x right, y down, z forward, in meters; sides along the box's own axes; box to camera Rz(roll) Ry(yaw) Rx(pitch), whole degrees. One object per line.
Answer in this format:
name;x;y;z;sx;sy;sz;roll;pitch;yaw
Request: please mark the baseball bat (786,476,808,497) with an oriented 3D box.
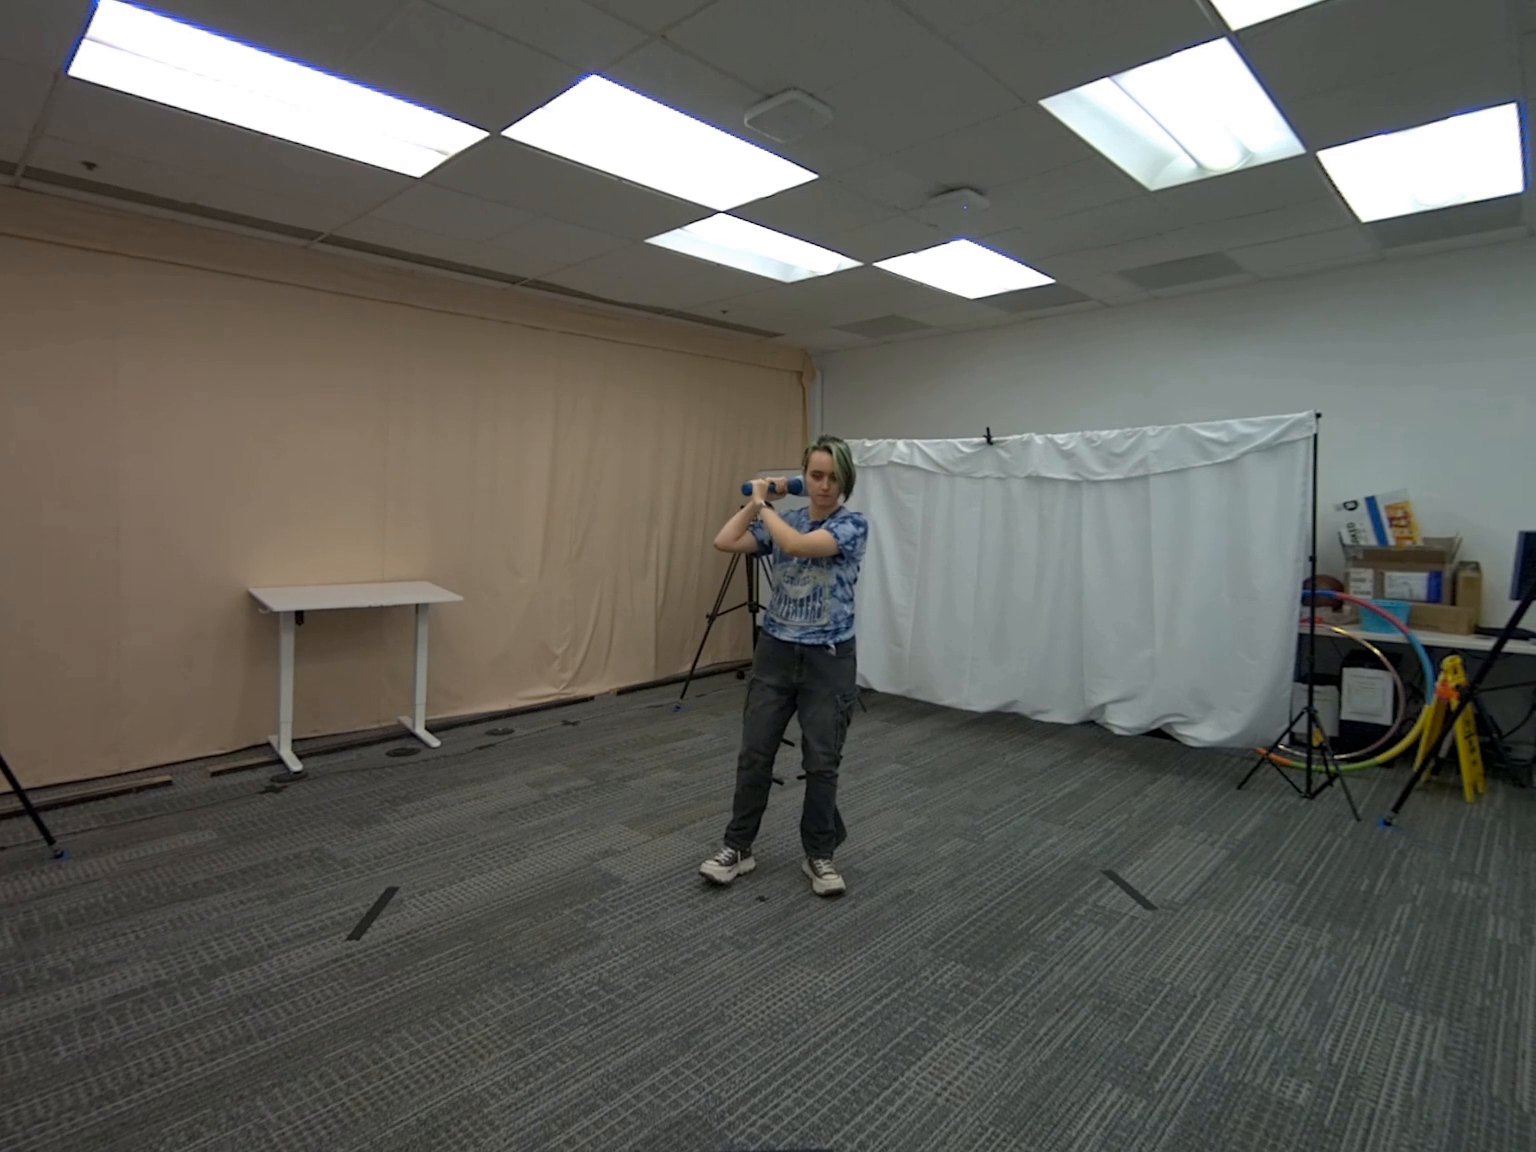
baseball bat;0.090;-0.336;3.173;0.092;0.089;0.527;3;8;40
